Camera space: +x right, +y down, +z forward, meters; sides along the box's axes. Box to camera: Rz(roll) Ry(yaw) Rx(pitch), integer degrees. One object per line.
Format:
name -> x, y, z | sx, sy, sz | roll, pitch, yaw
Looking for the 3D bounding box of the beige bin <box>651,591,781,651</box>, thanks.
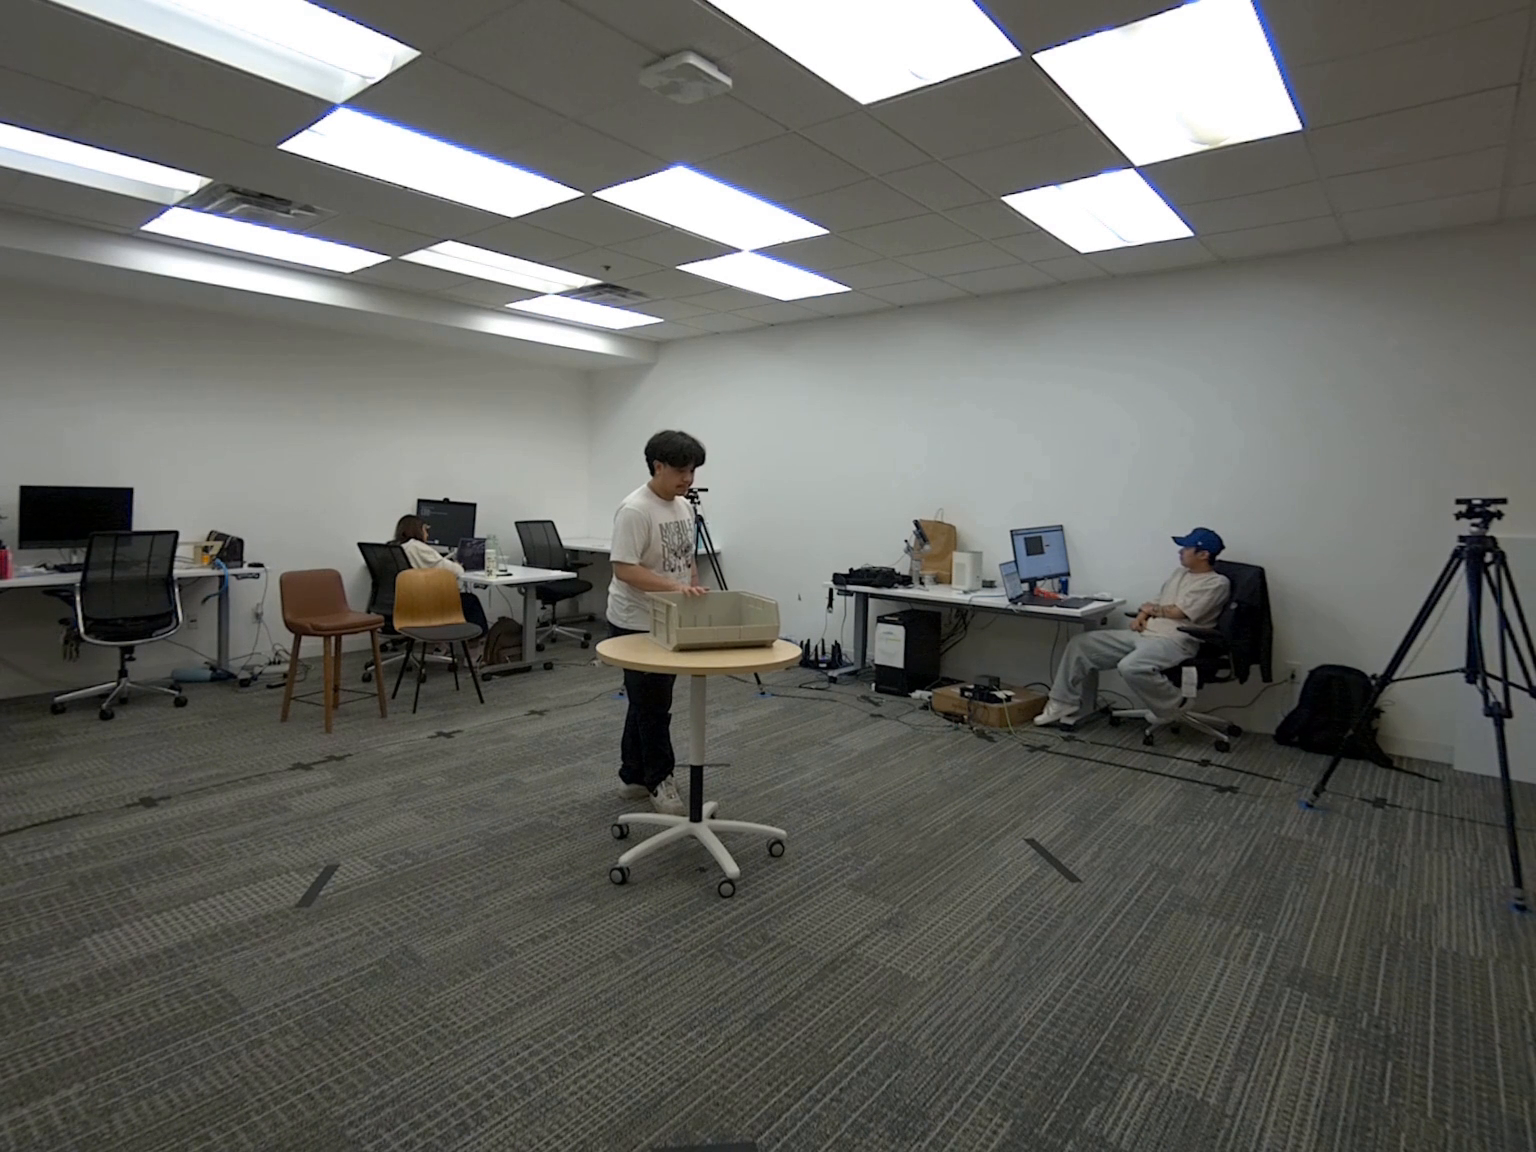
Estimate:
beige bin -> -0.230, 0.171, 3.275 | 0.413, 0.188, 0.386 | -1, 5, -22
